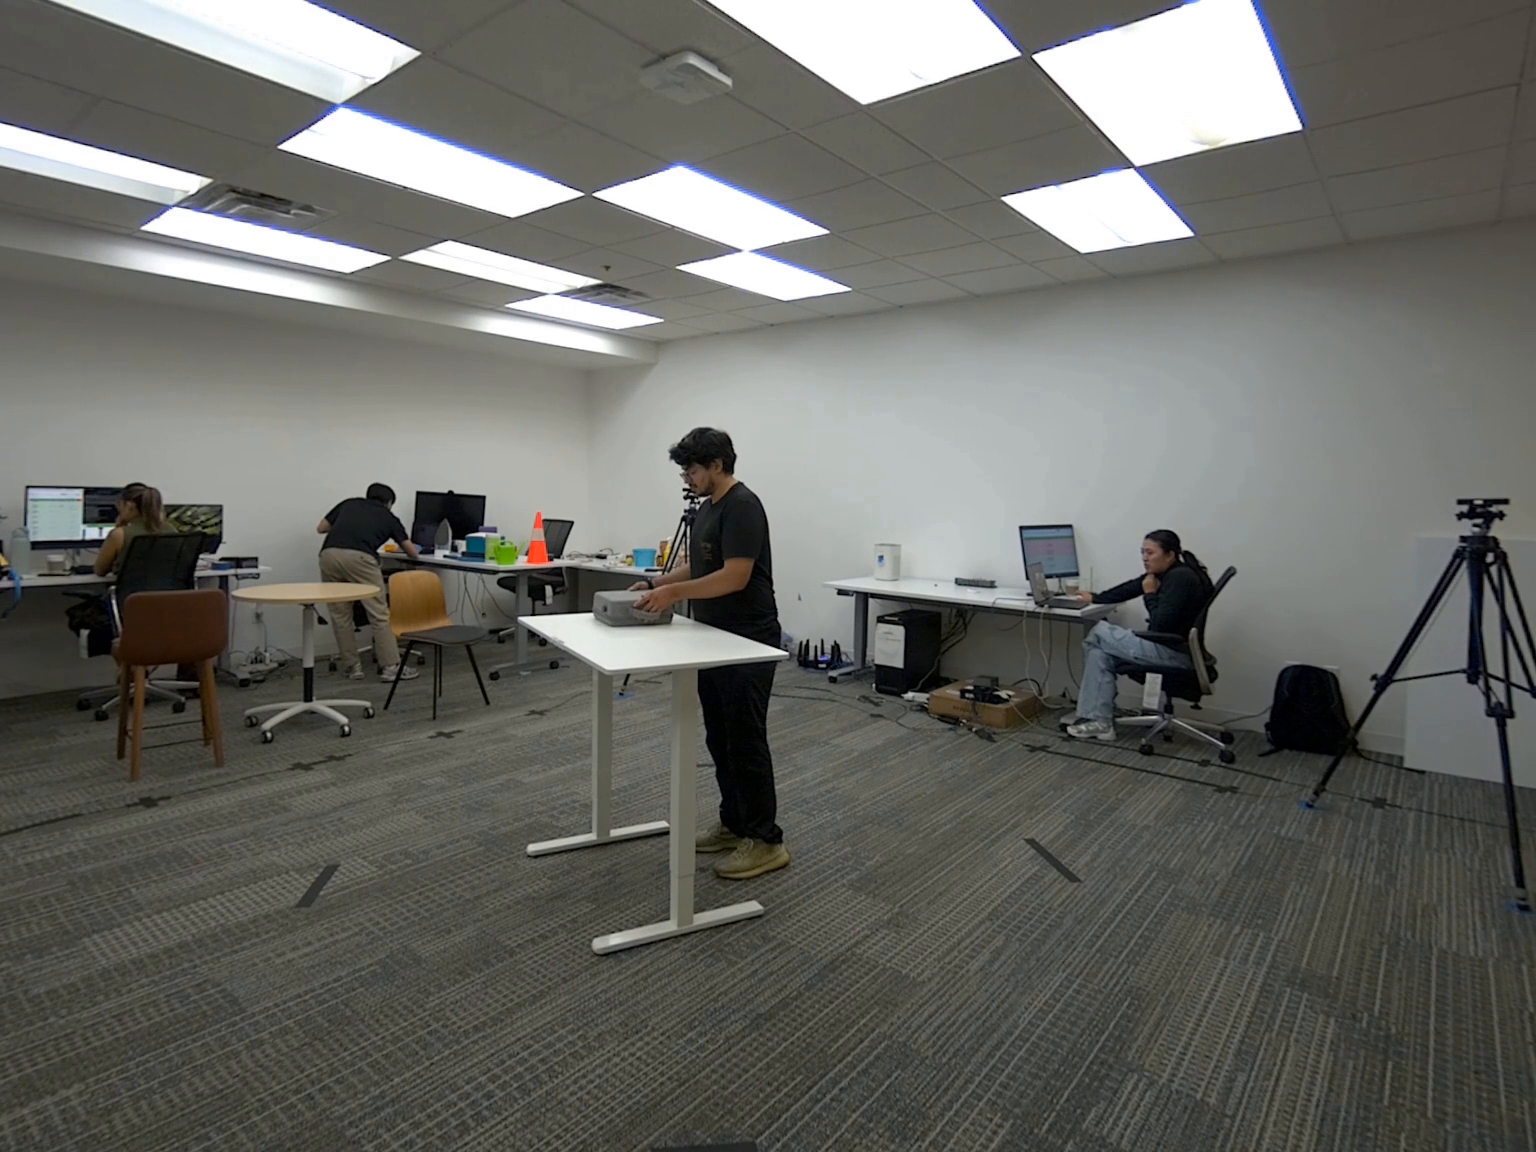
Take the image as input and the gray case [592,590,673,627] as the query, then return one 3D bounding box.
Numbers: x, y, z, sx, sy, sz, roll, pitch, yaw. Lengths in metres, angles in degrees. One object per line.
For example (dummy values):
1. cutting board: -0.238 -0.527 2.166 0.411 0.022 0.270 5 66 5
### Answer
1. gray case: -0.526 0.120 3.221 0.251 0.103 0.269 -4 10 -26
